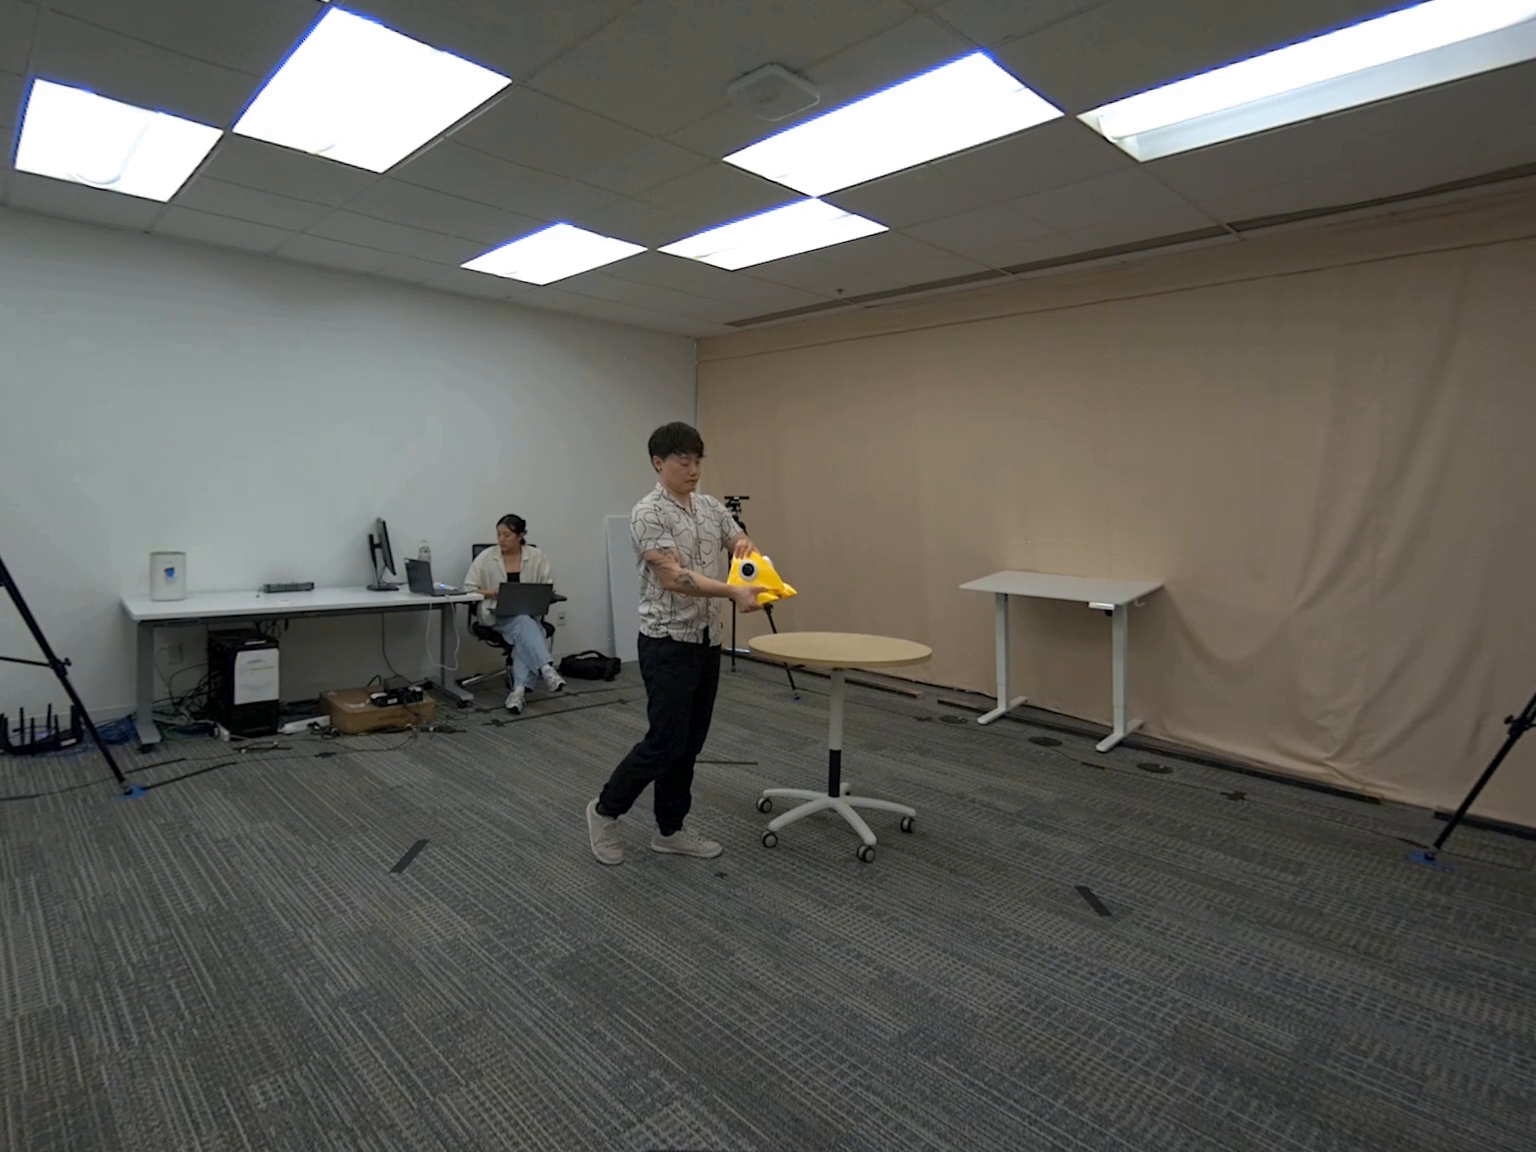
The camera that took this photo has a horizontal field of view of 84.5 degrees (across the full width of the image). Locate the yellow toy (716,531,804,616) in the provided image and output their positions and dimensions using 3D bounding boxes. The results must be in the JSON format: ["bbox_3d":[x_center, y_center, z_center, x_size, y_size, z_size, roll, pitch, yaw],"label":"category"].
[{"bbox_3d":[-0.042,-0.012,3.014,0.196,0.232,0.201,-21,-6,40],"label":"yellow toy"}]
